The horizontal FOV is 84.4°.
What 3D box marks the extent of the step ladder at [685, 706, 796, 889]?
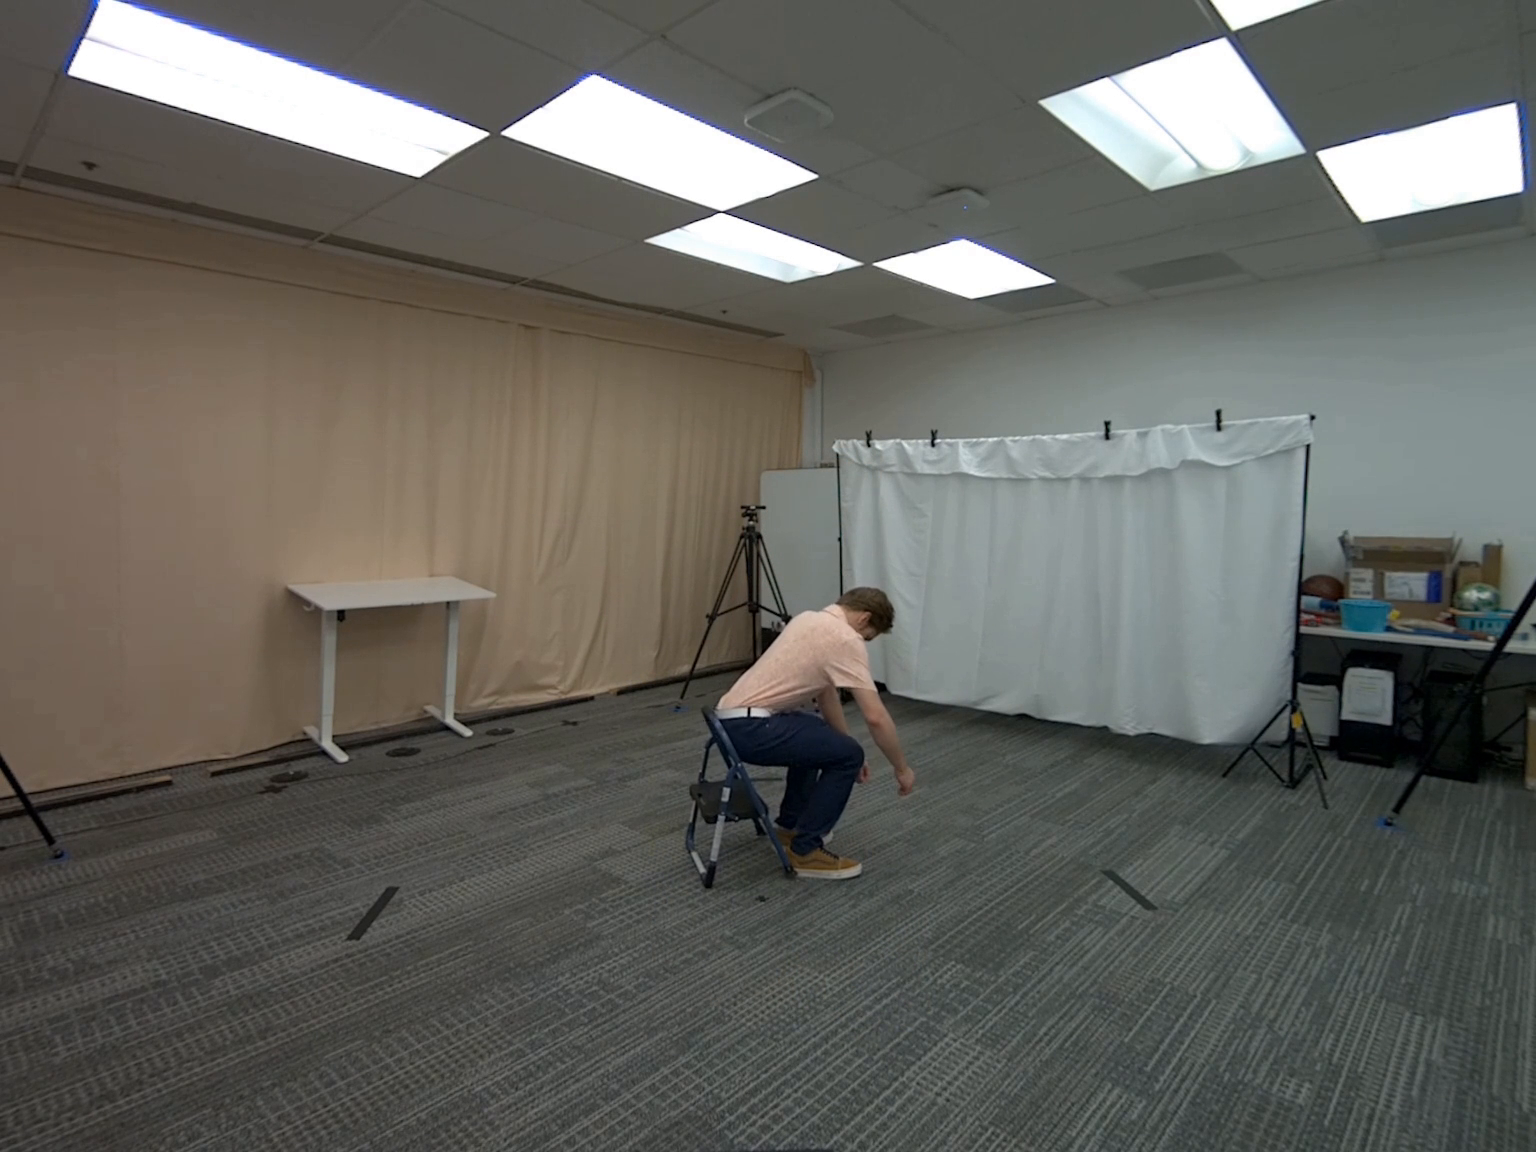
[{"bbox_3d":[-0.137,0.812,3.279,0.344,0.604,0.438,-5,4,-15],"label":"step ladder"}]
